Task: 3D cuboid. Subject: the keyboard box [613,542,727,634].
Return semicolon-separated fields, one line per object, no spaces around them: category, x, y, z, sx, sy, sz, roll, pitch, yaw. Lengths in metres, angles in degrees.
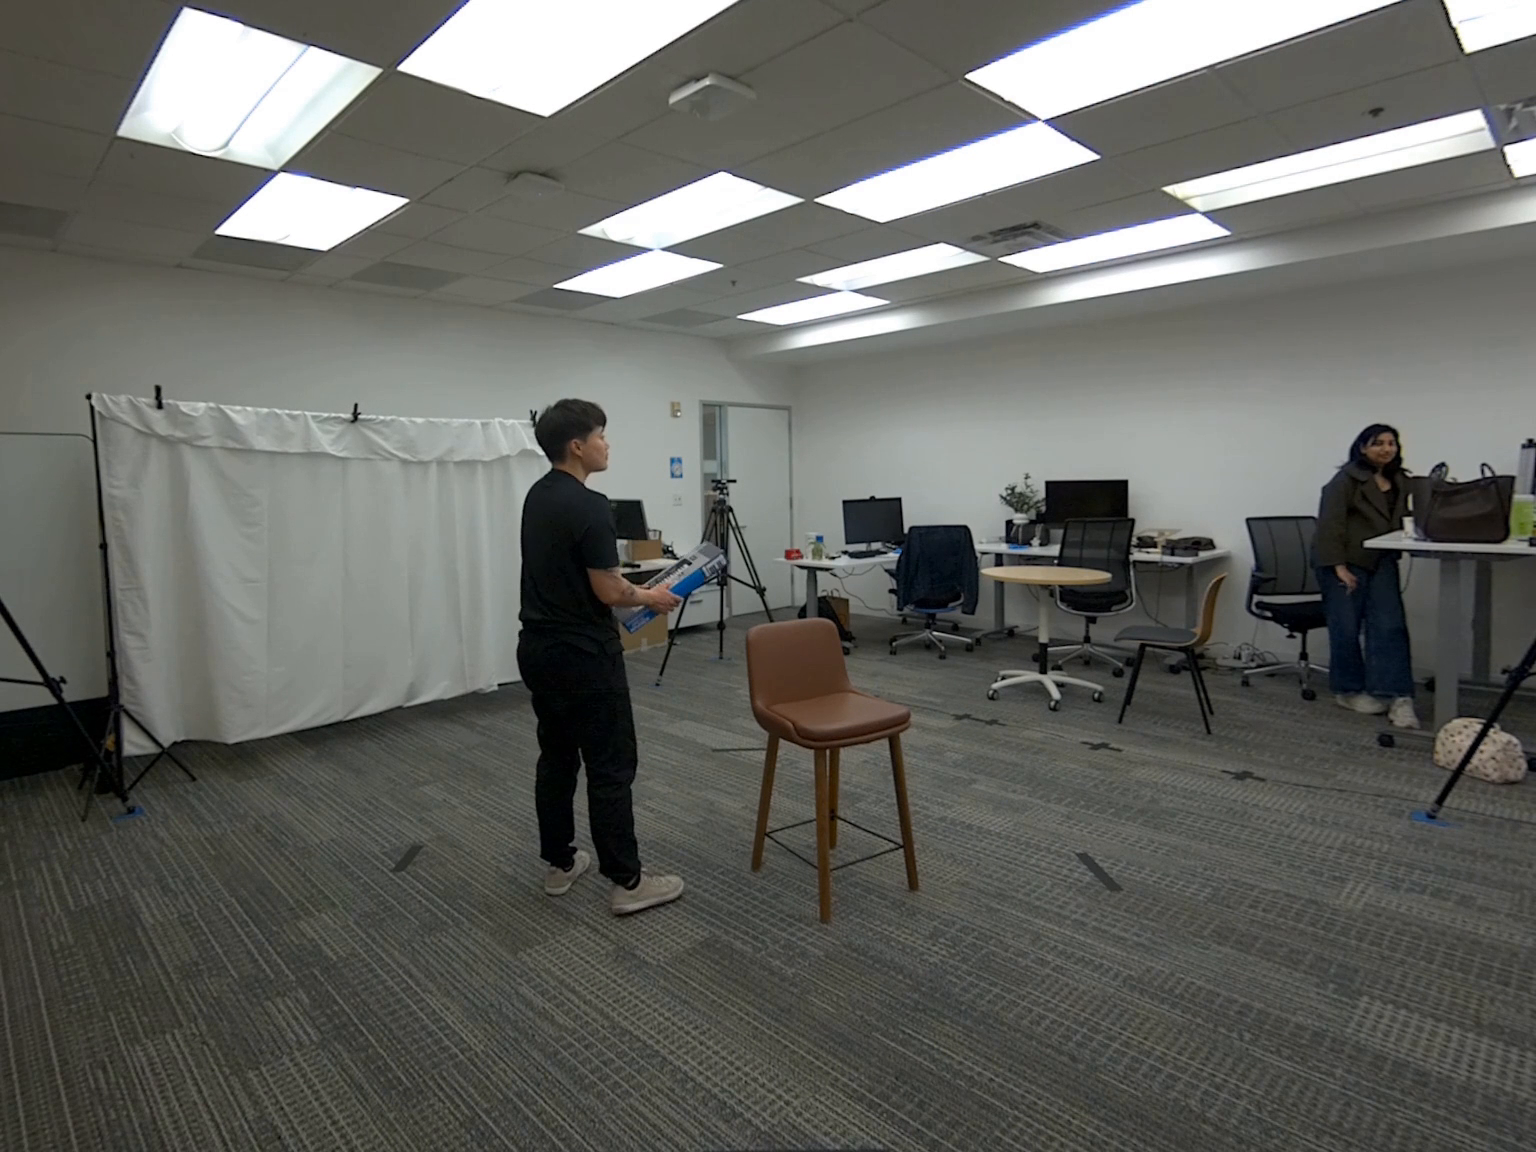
keyboard box;-0.354;0.035;3.084;0.435;0.057;0.181;-37;26;-13
